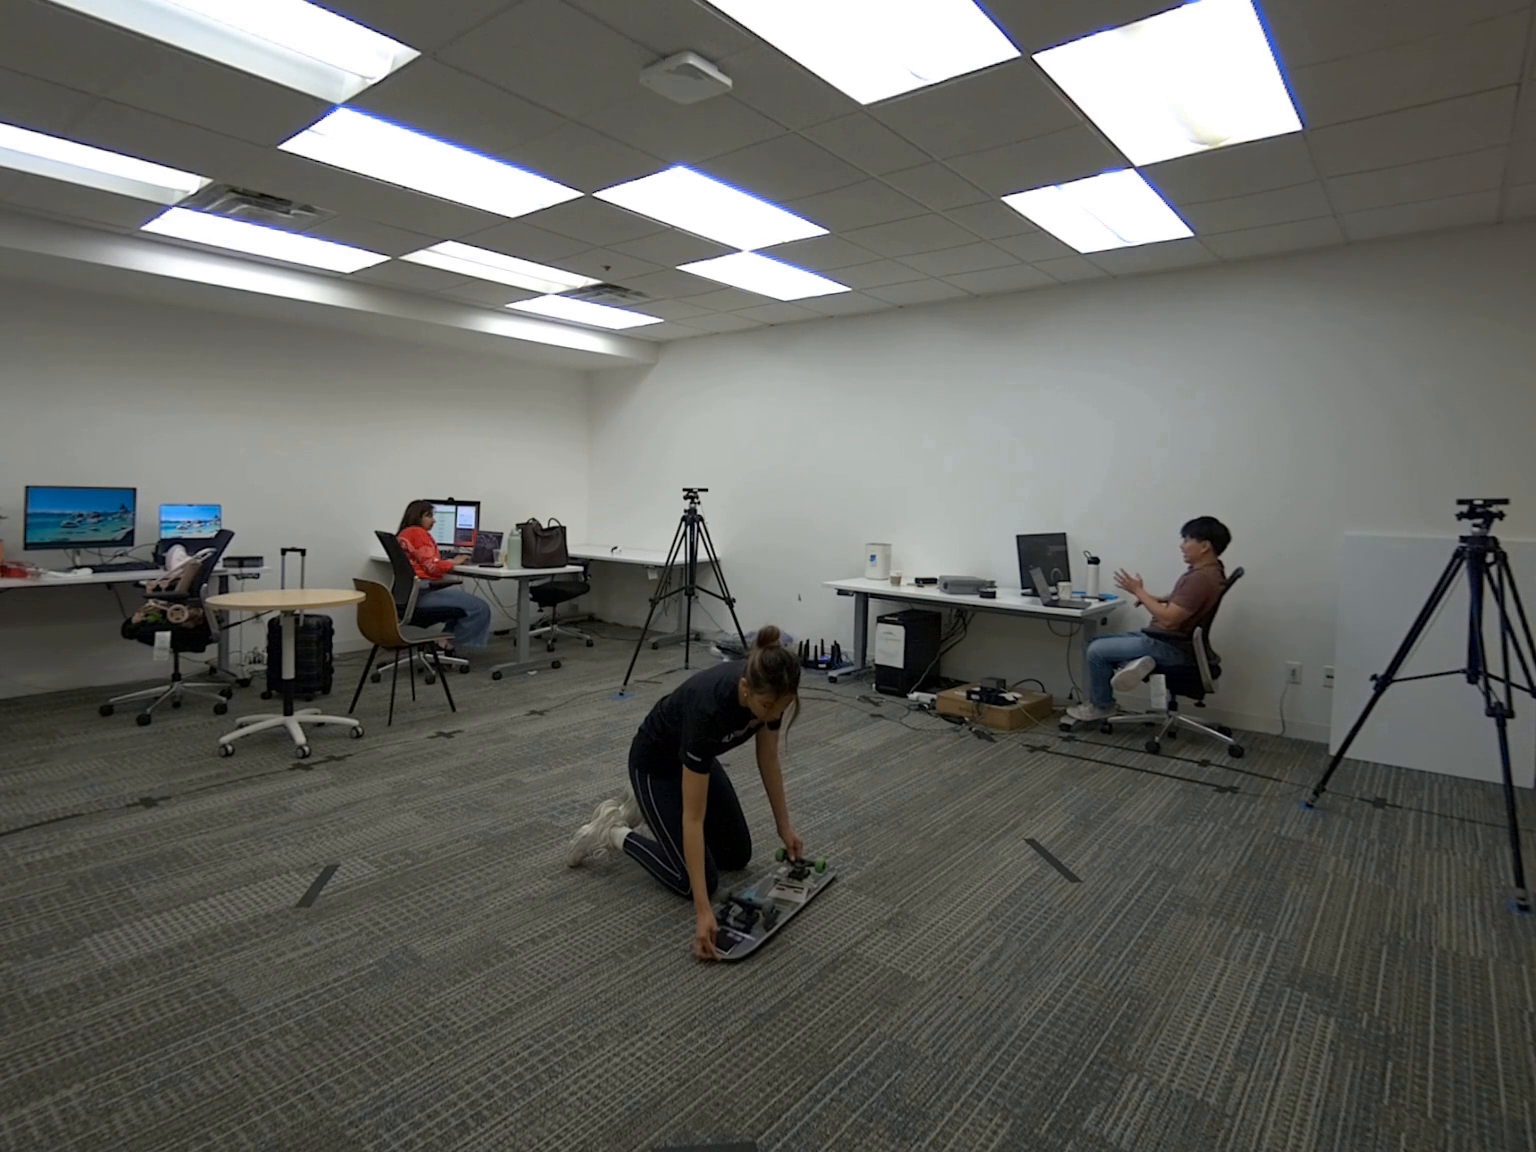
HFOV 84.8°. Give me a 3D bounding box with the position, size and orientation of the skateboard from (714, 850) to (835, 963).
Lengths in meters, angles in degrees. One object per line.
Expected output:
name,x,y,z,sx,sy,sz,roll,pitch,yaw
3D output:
skateboard,0.019,1.045,2.826,0.199,0.110,0.767,5,6,26
